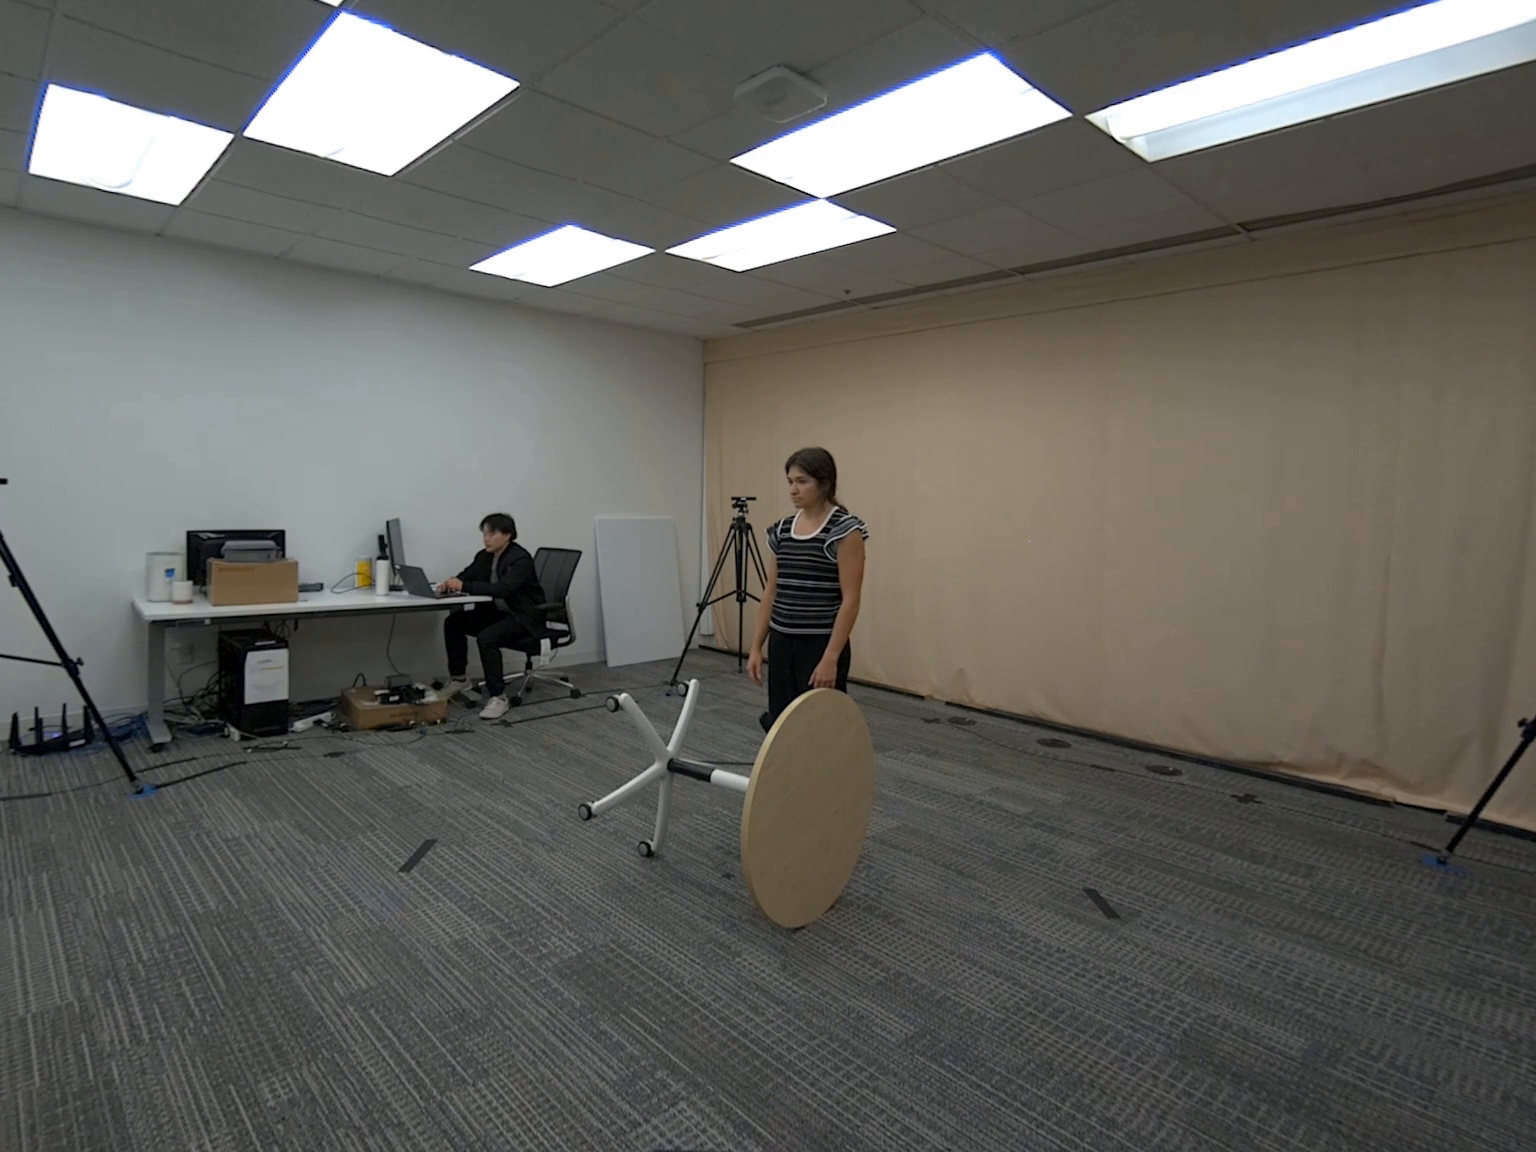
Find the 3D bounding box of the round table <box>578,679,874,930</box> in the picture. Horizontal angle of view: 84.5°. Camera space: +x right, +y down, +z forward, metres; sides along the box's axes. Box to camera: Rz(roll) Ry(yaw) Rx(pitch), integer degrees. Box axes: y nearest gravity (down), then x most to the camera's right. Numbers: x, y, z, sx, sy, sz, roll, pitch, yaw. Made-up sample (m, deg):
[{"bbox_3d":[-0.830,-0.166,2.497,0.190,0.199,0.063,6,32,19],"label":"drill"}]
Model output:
[{"bbox_3d":[-0.164,0.743,3.018,0.813,0.762,0.747,3,4,37],"label":"round table"}]
